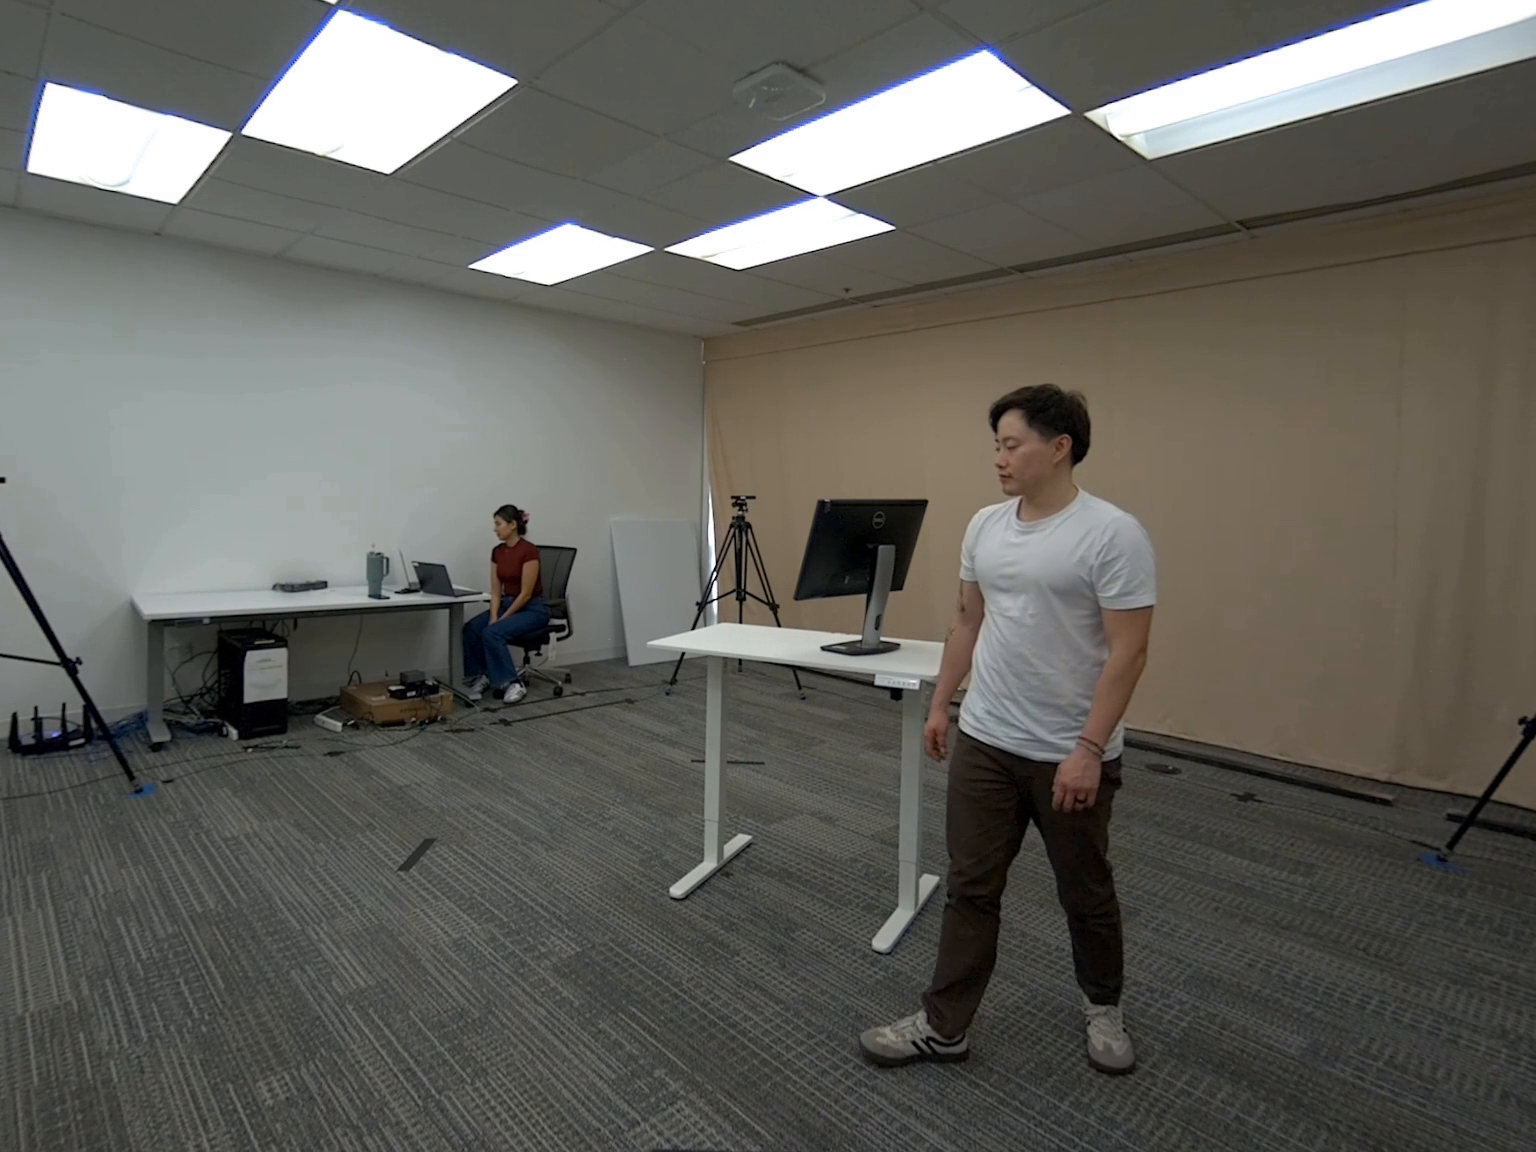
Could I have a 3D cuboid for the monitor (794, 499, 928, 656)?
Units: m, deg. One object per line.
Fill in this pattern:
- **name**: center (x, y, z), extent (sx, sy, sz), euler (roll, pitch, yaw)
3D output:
- **monitor**: center (0.333, 0.000, 2.861), extent (0.527, 0.520, 0.192), euler (-3, 9, -42)
